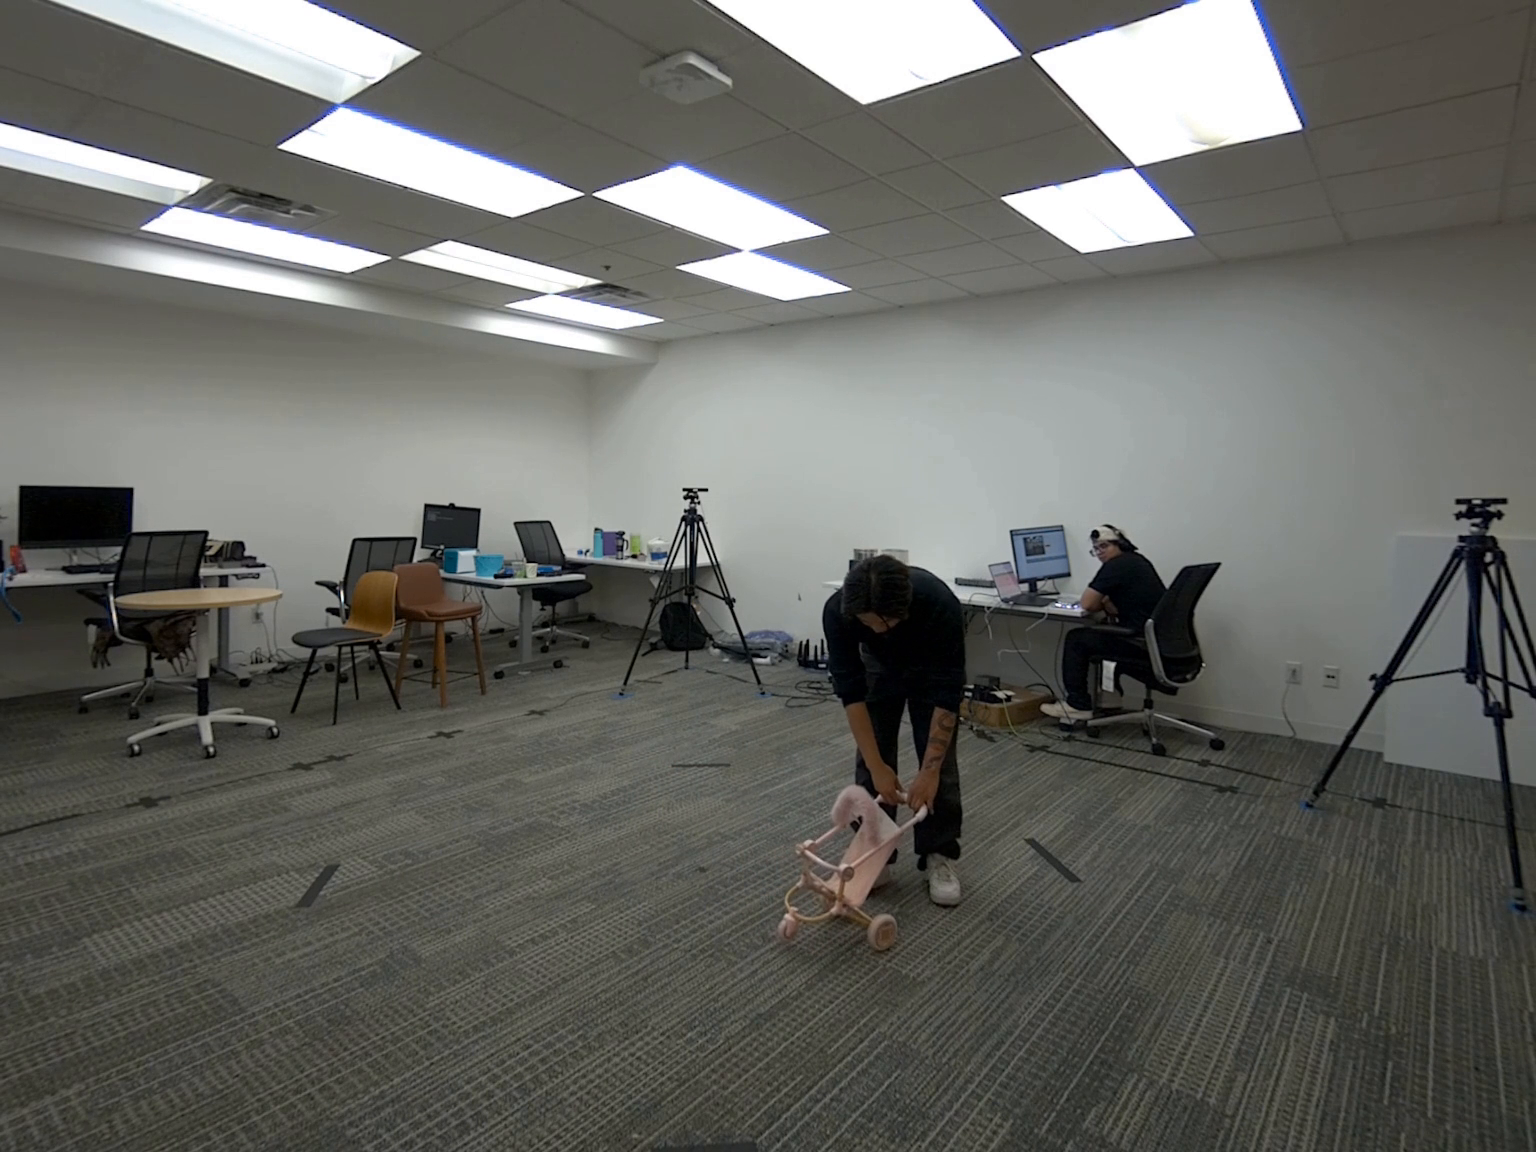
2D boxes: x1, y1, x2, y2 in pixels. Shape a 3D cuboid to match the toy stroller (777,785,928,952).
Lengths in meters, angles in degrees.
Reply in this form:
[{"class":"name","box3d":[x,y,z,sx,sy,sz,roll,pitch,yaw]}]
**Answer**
[{"class":"toy stroller","box3d":[0.243,0.894,2.668,0.331,0.537,0.289,25,-7,-24]}]
